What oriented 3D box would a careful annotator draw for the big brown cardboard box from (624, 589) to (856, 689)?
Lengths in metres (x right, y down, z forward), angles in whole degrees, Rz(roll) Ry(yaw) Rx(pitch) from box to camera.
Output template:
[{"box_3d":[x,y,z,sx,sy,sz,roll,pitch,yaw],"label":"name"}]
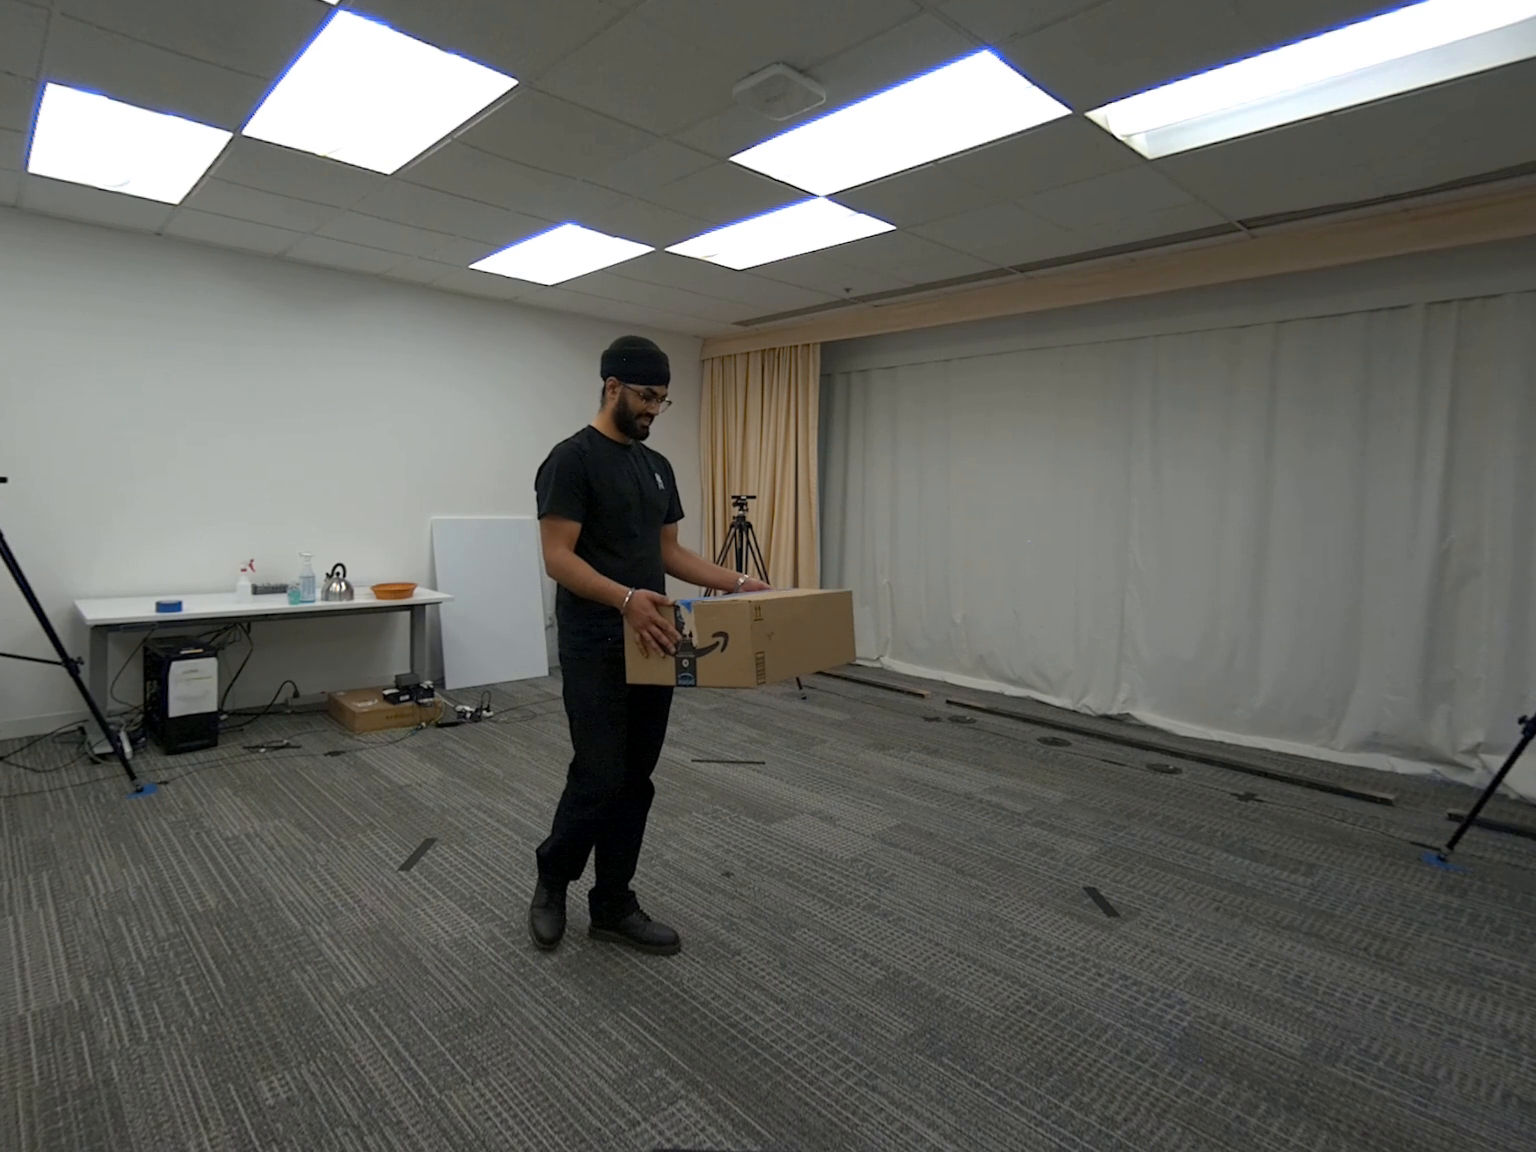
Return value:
[{"box_3d":[-0.074,0.164,2.380,0.426,0.233,0.576,-3,1,33],"label":"big brown cardboard box"}]
